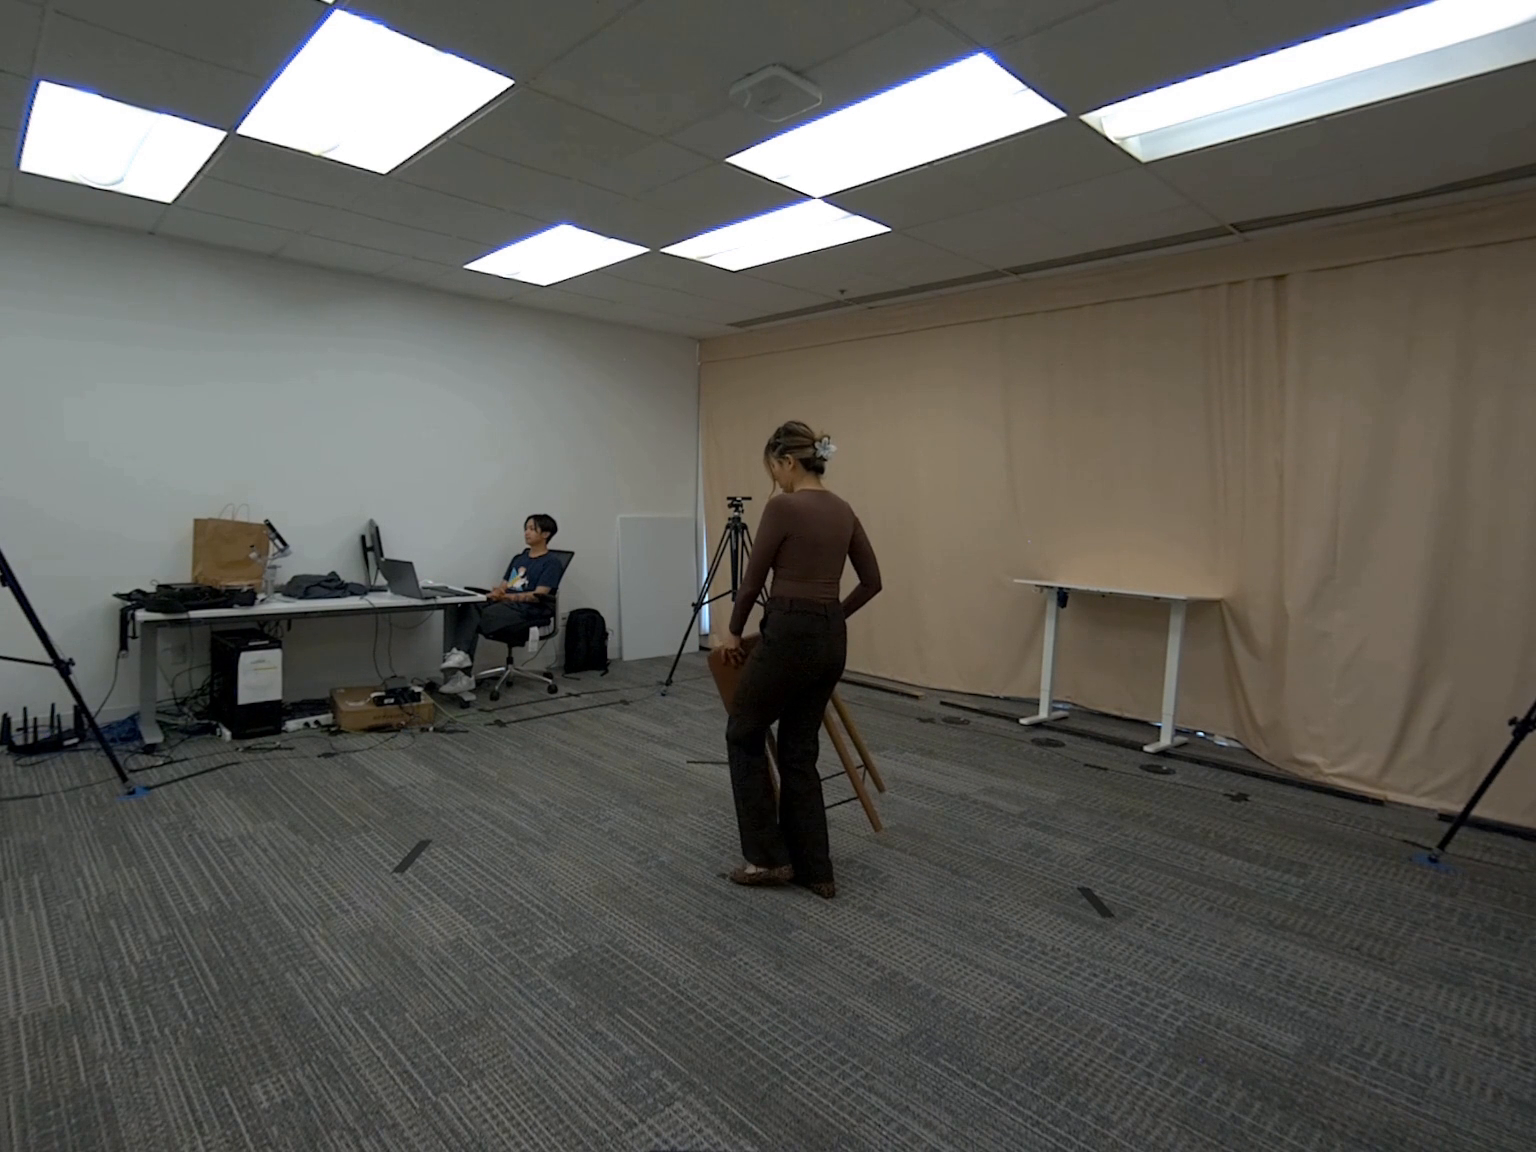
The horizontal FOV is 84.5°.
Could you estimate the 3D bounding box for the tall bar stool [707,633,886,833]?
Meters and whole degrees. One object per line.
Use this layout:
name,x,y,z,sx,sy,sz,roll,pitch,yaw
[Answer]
tall bar stool,0.112,0.615,3.433,0.459,0.888,0.466,-22,2,10
